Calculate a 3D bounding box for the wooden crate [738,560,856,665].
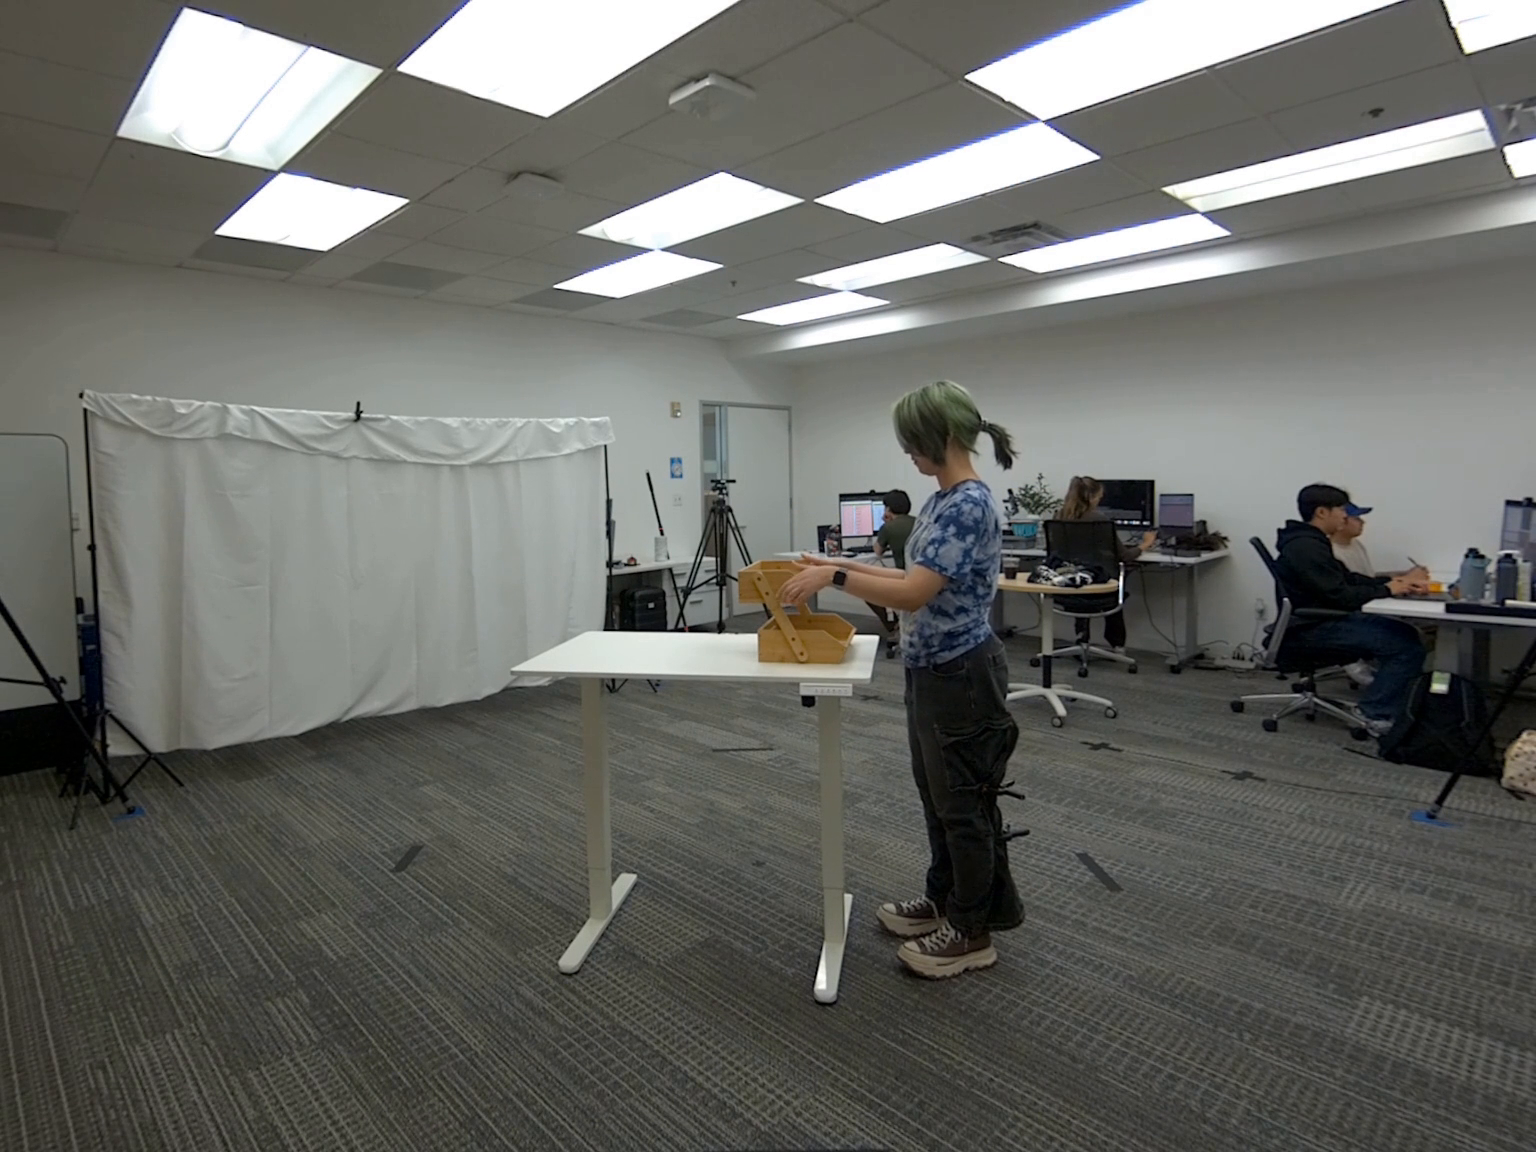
[{"bbox_3d":[0.100,0.094,2.516,0.306,0.272,0.322,-1,5,12],"label":"wooden crate"}]
